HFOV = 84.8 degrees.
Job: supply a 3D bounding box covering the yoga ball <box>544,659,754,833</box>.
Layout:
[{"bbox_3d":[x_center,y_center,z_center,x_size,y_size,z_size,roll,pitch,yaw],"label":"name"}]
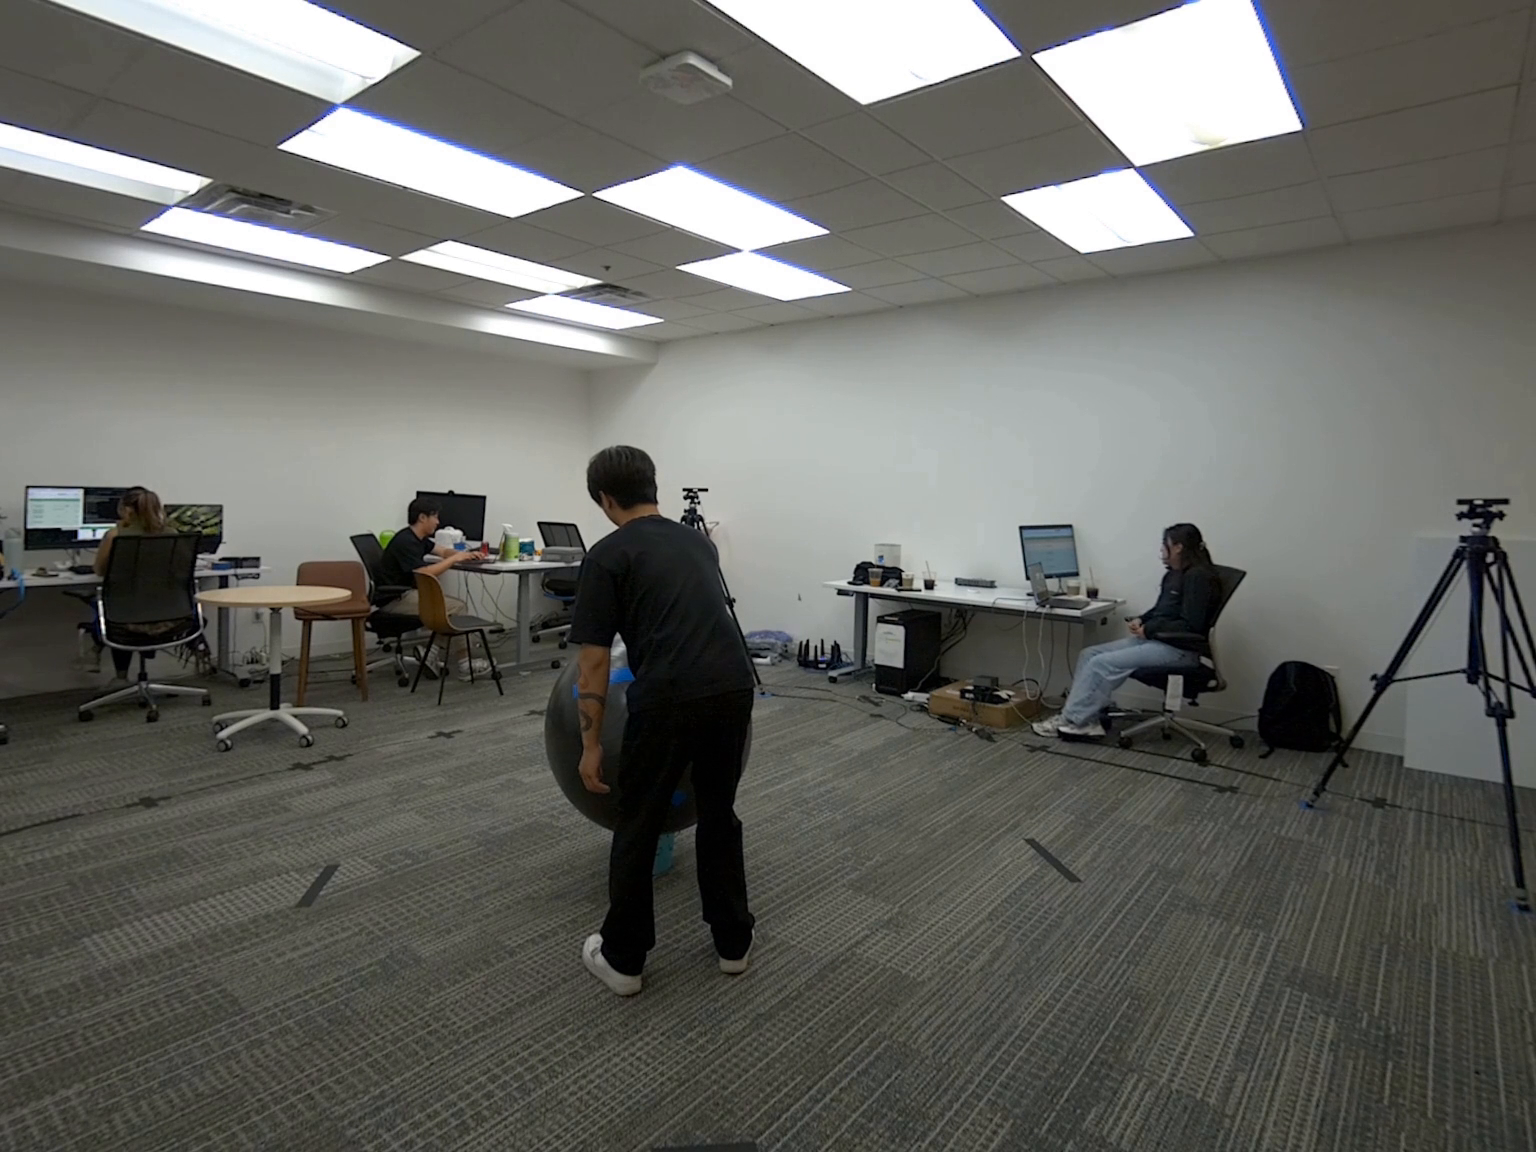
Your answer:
[{"bbox_3d":[-0.446,0.556,3.131,0.757,0.756,0.762,1,4,-2],"label":"yoga ball"}]
